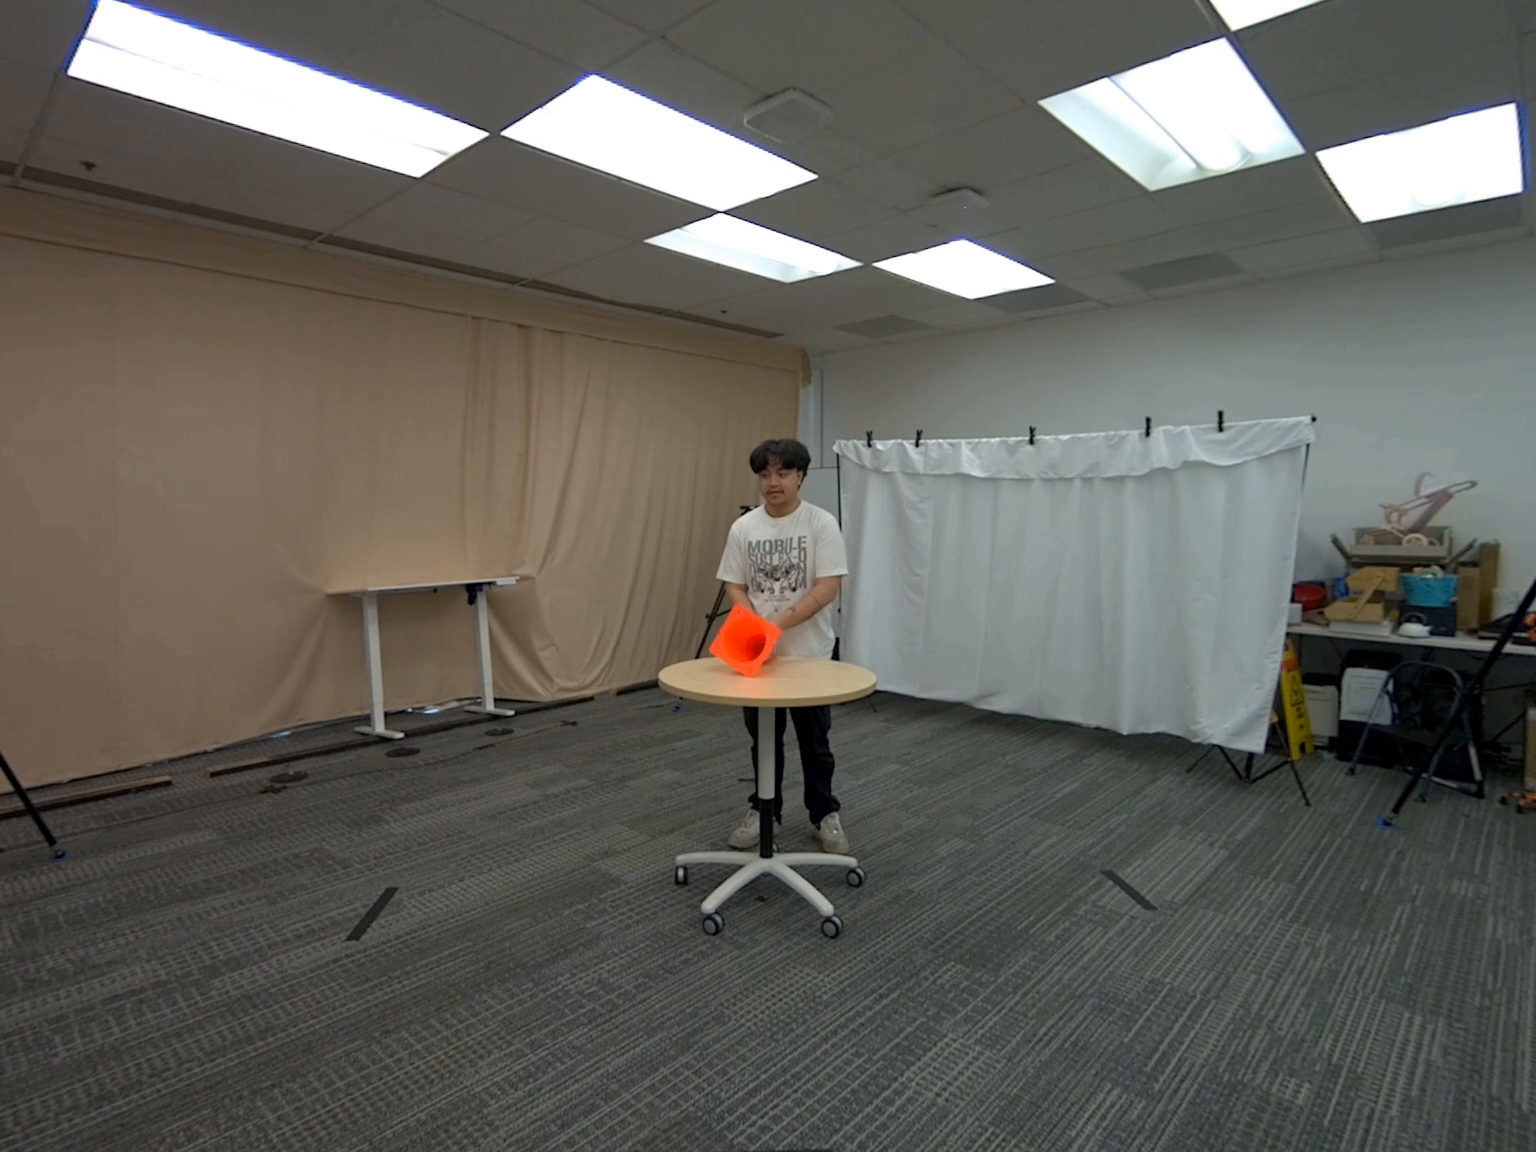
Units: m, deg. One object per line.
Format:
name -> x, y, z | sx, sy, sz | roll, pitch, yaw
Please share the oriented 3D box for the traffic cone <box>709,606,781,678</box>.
traffic cone -> -0.032, 0.273, 3.135 | 0.210, 0.203, 0.374 | 19, -6, 20
